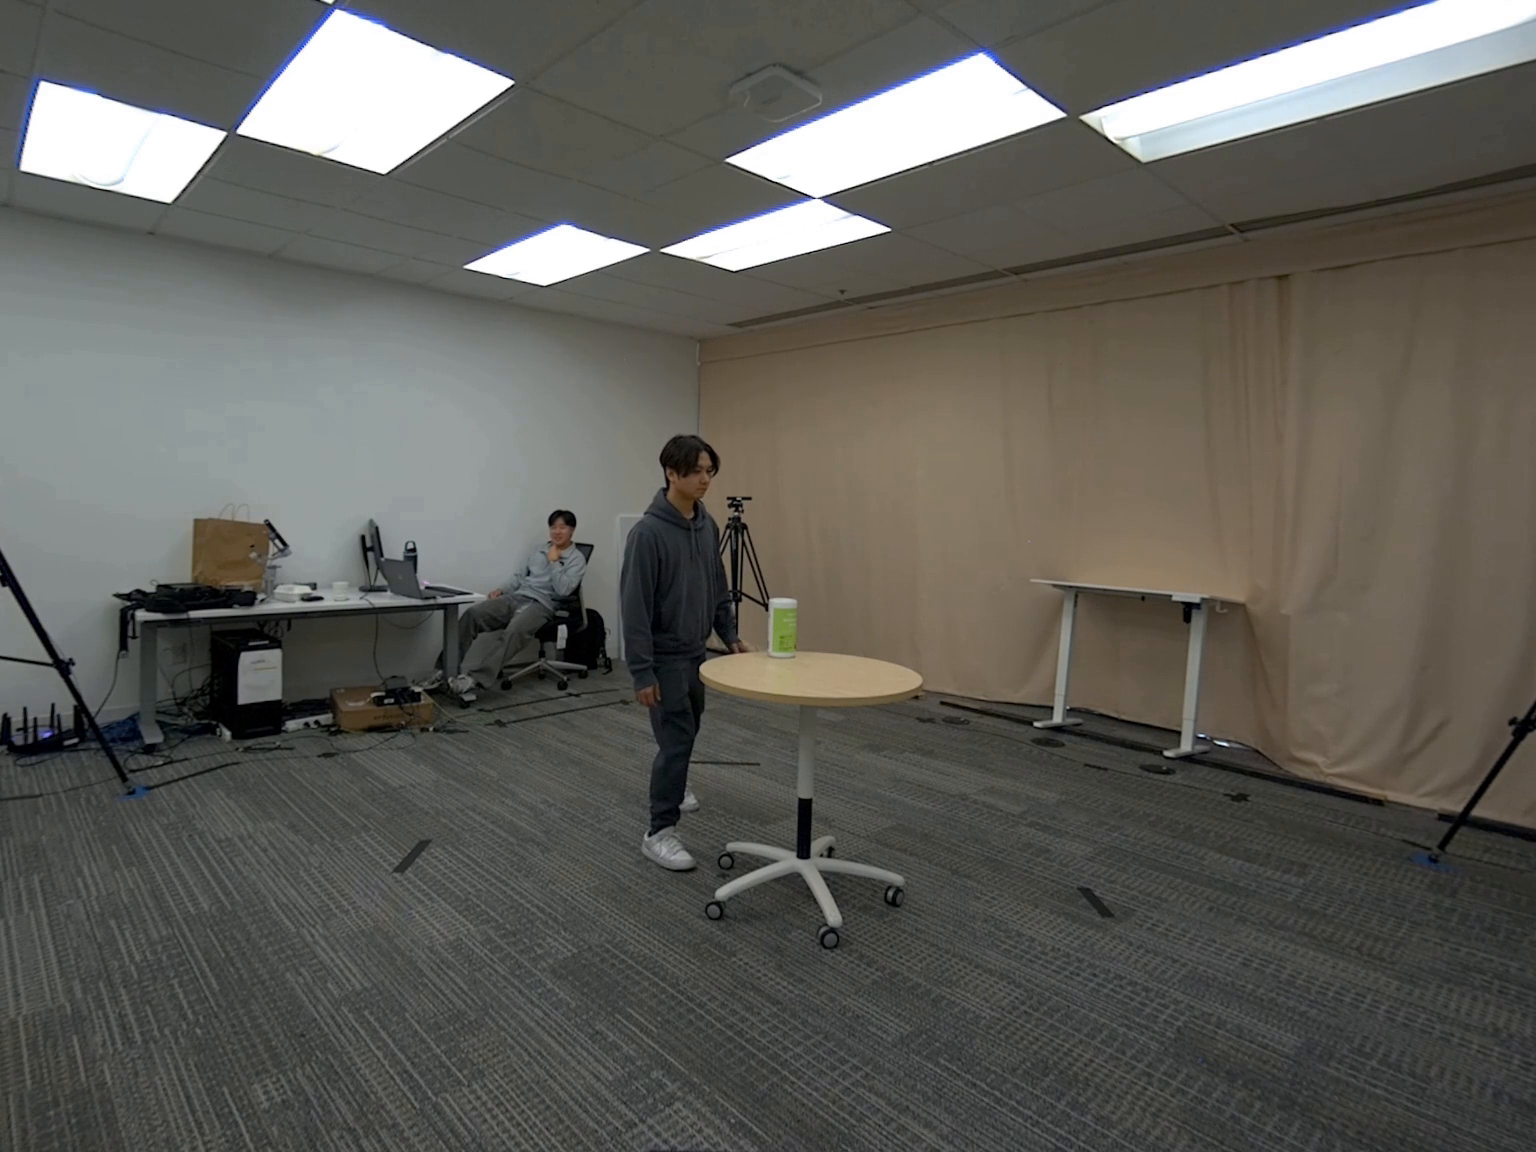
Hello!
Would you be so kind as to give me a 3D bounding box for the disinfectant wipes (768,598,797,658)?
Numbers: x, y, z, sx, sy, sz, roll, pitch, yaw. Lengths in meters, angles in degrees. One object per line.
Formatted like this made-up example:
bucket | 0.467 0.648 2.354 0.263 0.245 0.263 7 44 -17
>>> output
disinfectant wipes | 0.041 0.192 3.200 0.118 0.217 0.118 3 0 -1
